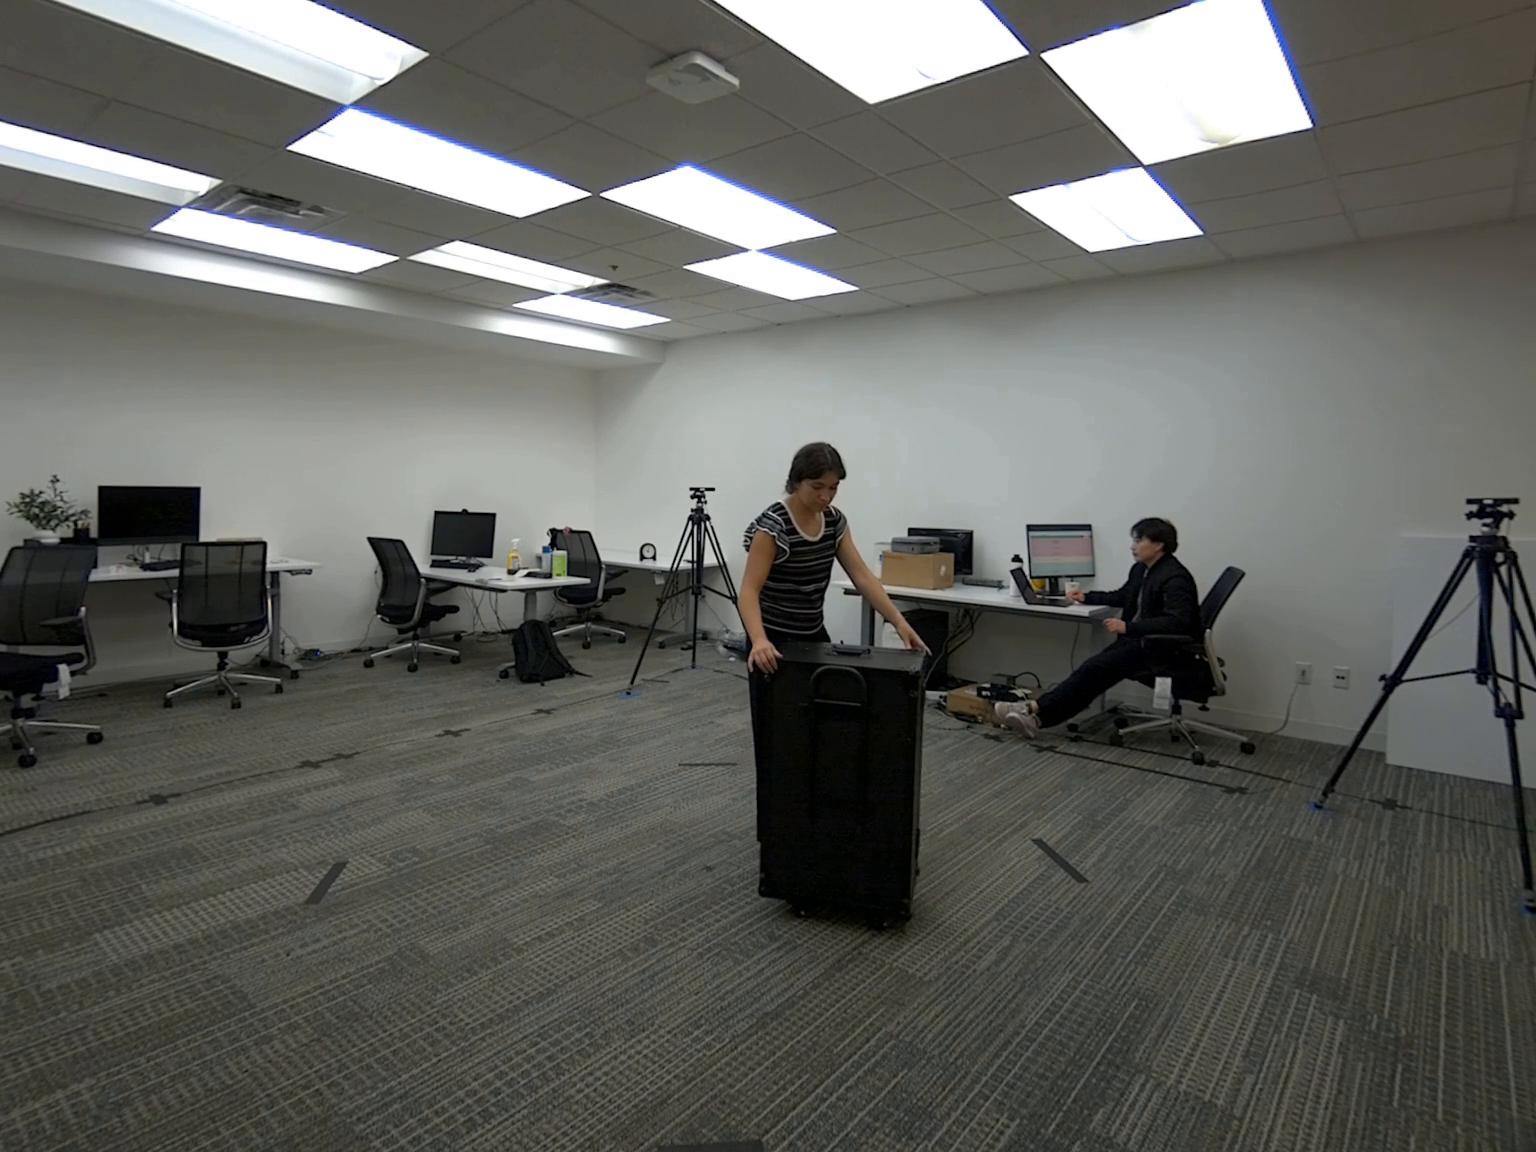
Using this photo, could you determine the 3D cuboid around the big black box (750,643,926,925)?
[{"bbox_3d":[0.249,0.680,2.823,0.531,0.858,0.390,2,5,18],"label":"big black box"}]
